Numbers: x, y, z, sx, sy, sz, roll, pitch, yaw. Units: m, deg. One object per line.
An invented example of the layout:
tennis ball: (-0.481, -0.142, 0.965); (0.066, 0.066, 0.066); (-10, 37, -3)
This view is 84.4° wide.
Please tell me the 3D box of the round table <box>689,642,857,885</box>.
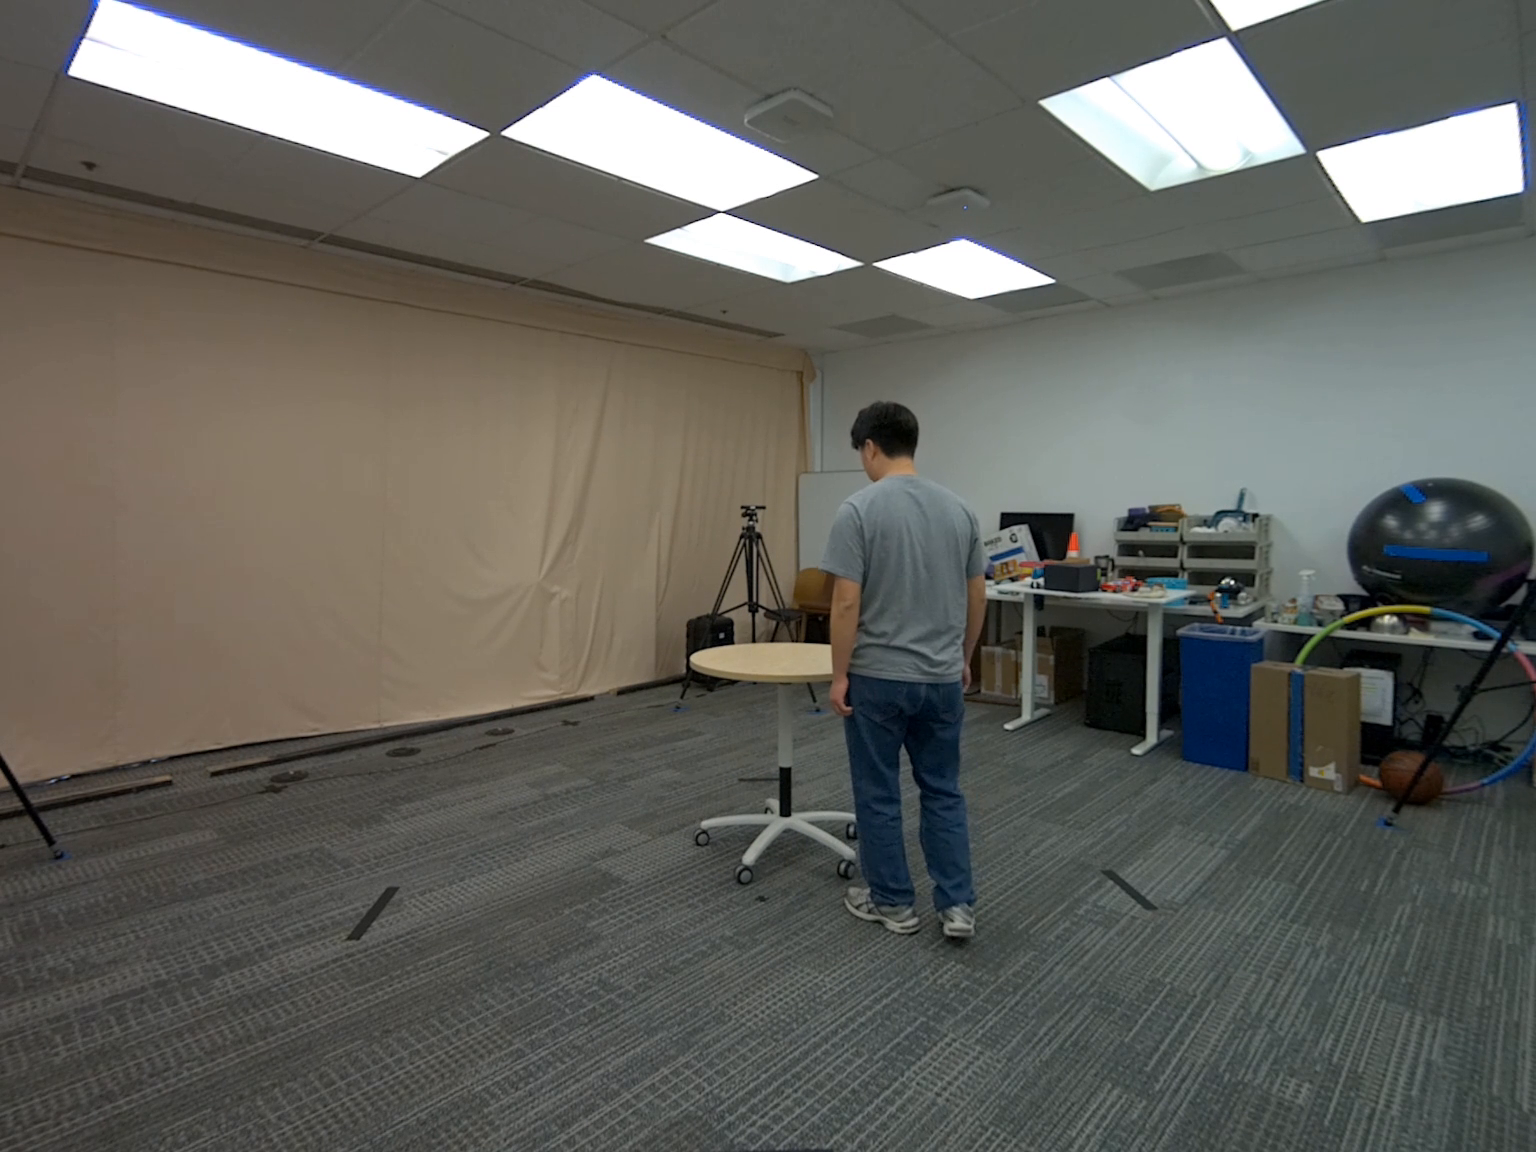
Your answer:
round table: (0.070, 0.720, 3.394); (0.763, 0.792, 0.766); (0, 3, -2)
